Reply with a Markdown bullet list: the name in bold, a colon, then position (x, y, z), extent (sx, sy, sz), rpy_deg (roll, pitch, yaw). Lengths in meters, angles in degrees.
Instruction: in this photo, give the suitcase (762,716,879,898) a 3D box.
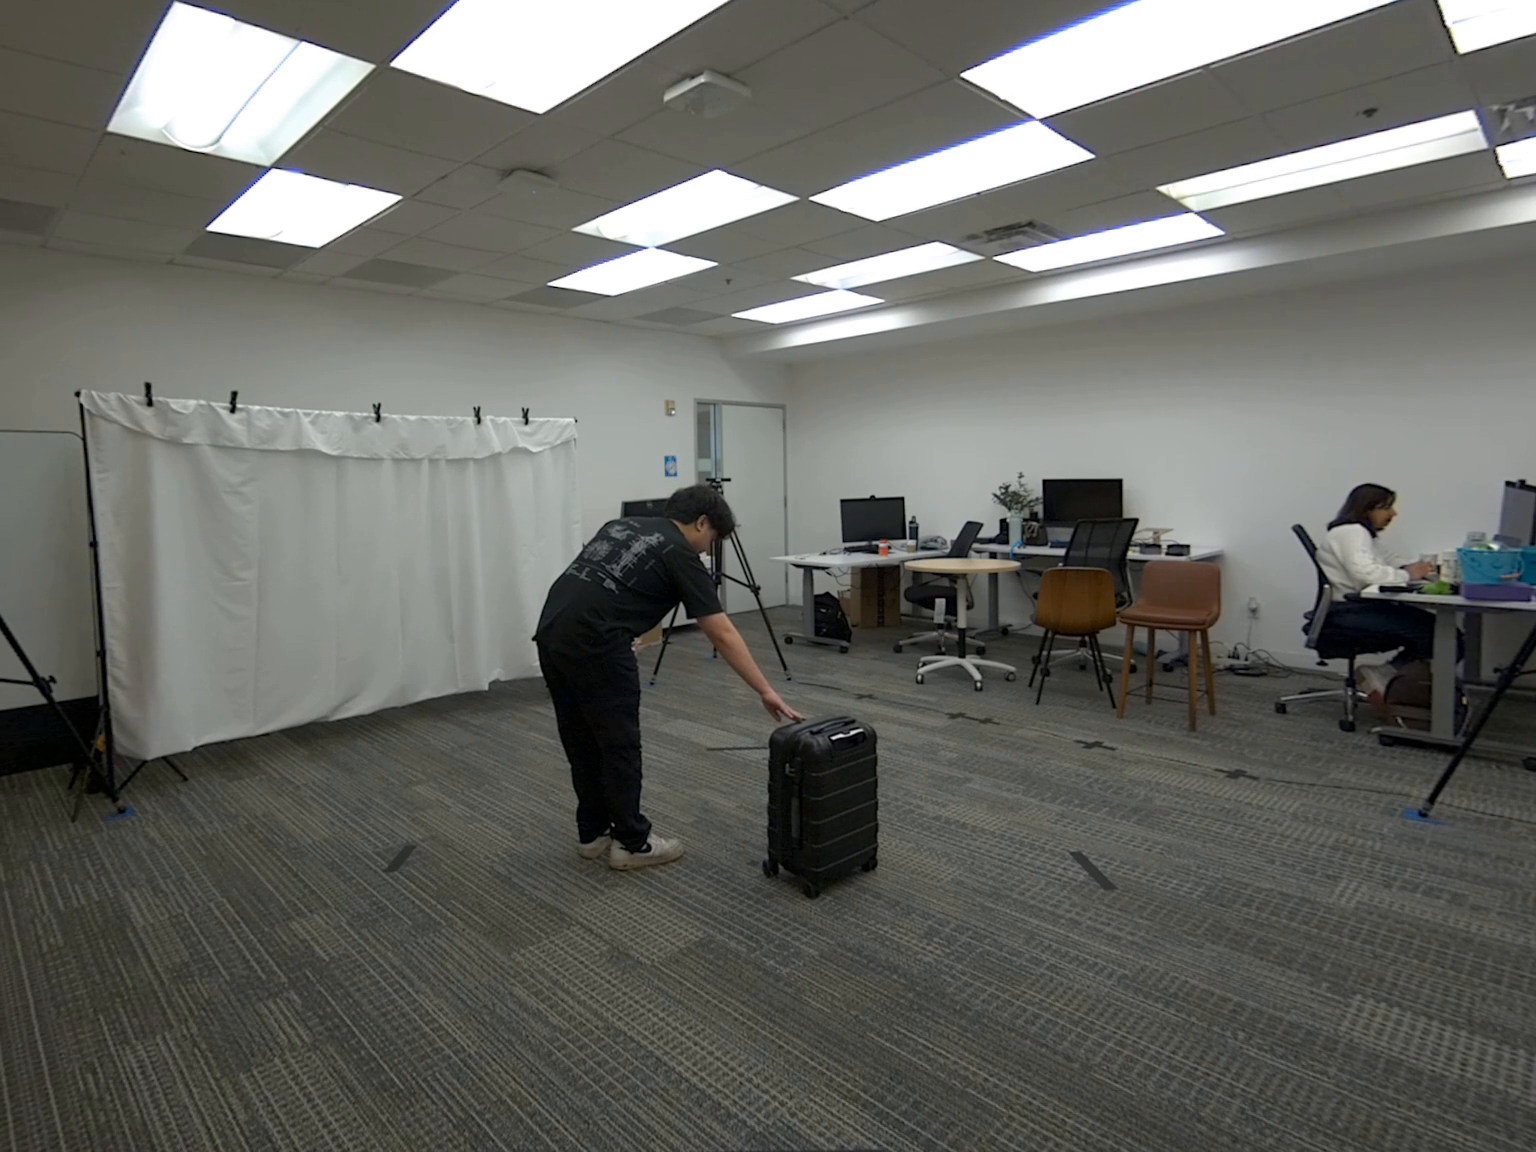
- **suitcase**: position (0.188, 0.770, 2.986), extent (0.365, 0.547, 0.256), rpy_deg (-5, 8, -42)
